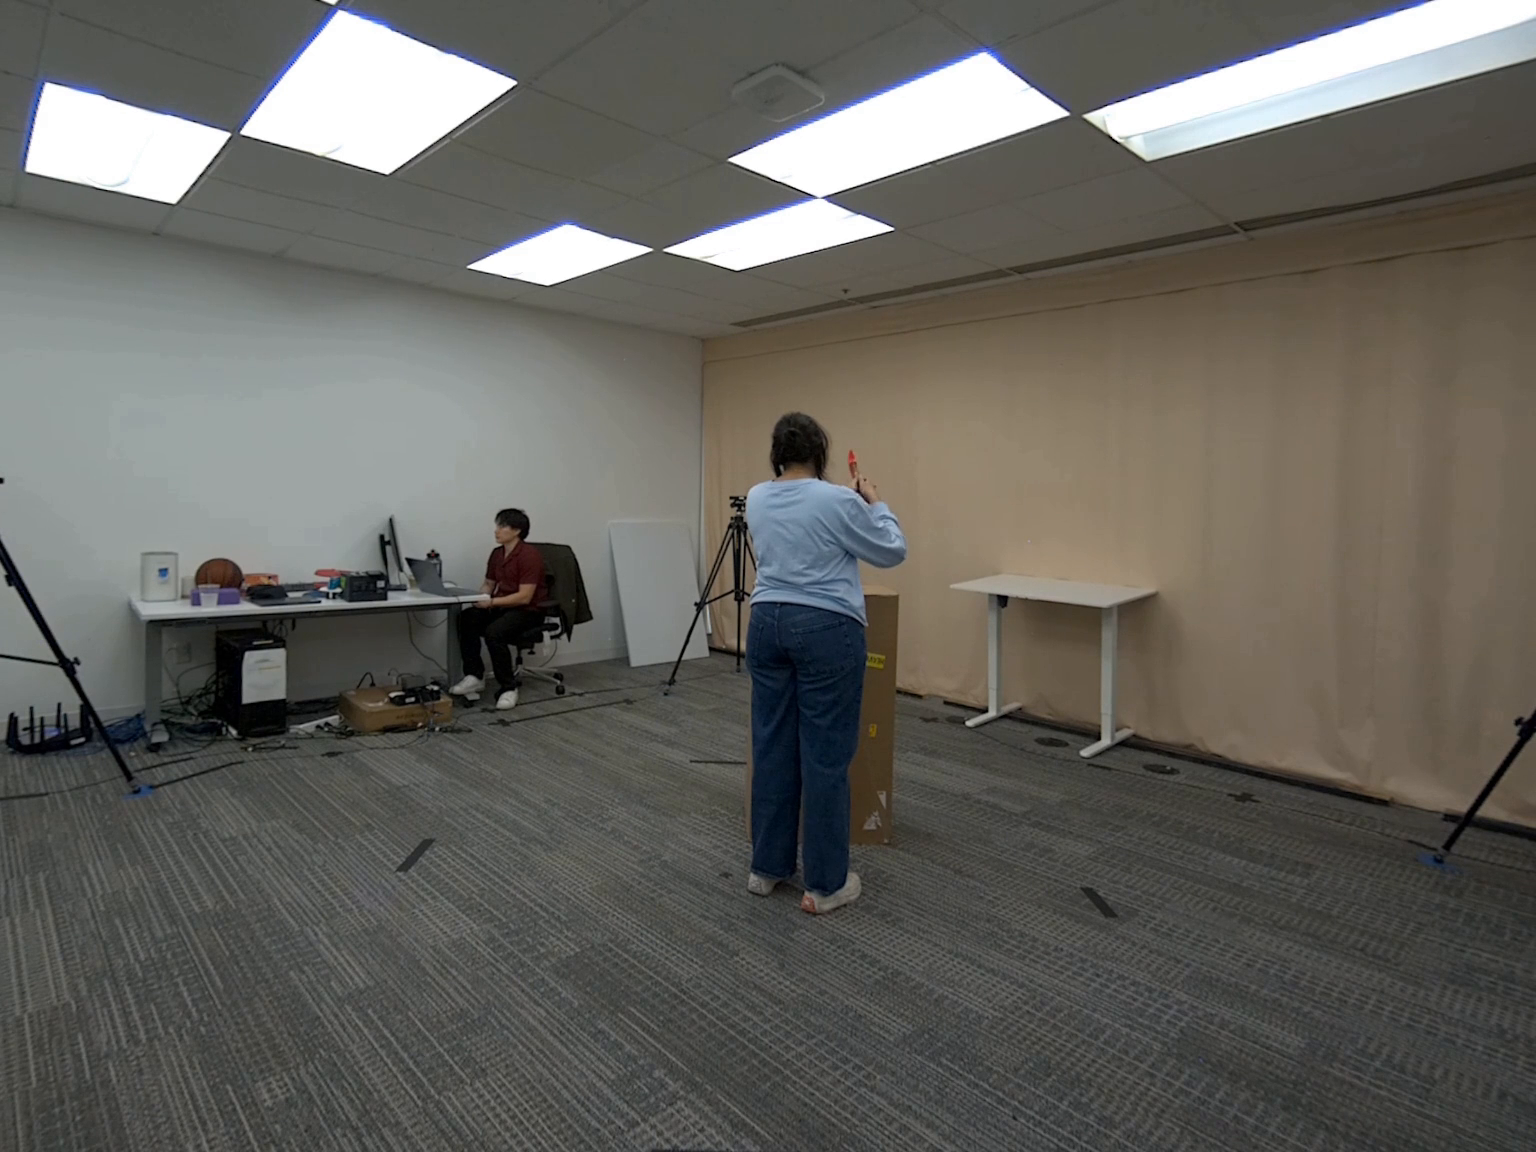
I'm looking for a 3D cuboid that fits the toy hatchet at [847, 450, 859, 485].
[{"bbox_3d":[0.340,-0.352,3.234,0.029,0.276,0.128,-8,-37,1],"label":"toy hatchet"}]
